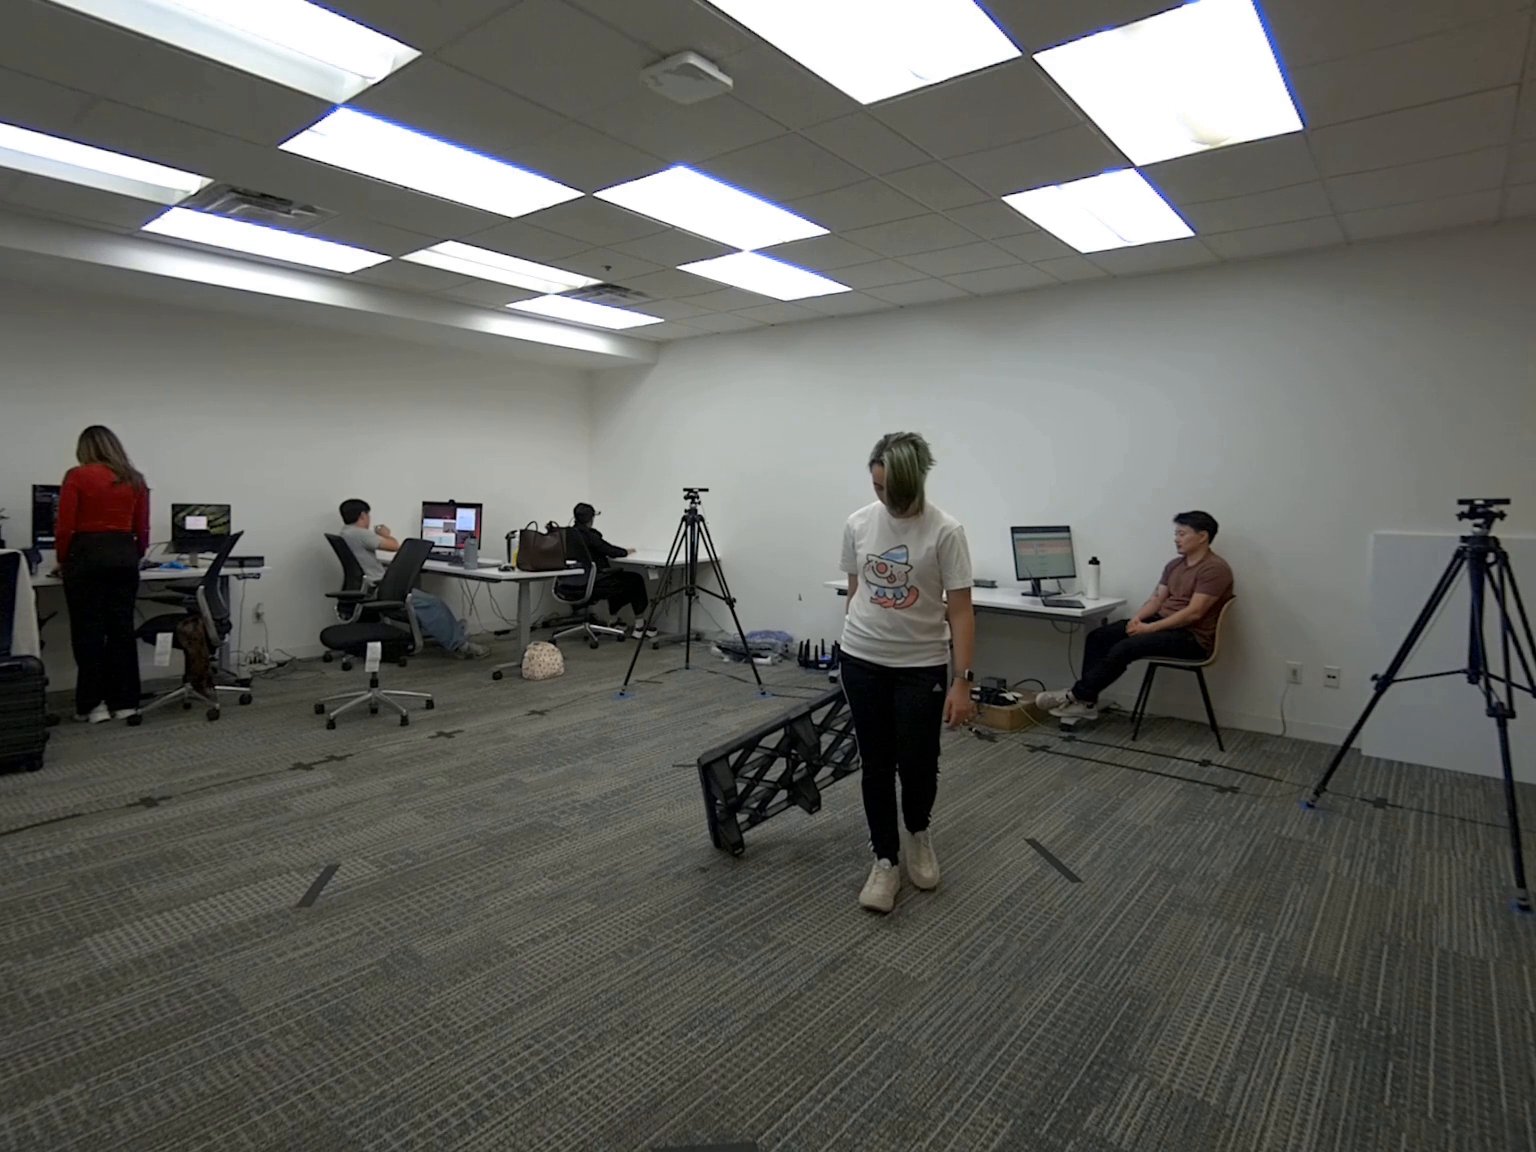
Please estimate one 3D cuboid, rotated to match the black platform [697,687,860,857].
[{"bbox_3d":[0.132,0.715,3.200,0.797,0.586,0.149,-24,46,-18],"label":"black platform"}]
